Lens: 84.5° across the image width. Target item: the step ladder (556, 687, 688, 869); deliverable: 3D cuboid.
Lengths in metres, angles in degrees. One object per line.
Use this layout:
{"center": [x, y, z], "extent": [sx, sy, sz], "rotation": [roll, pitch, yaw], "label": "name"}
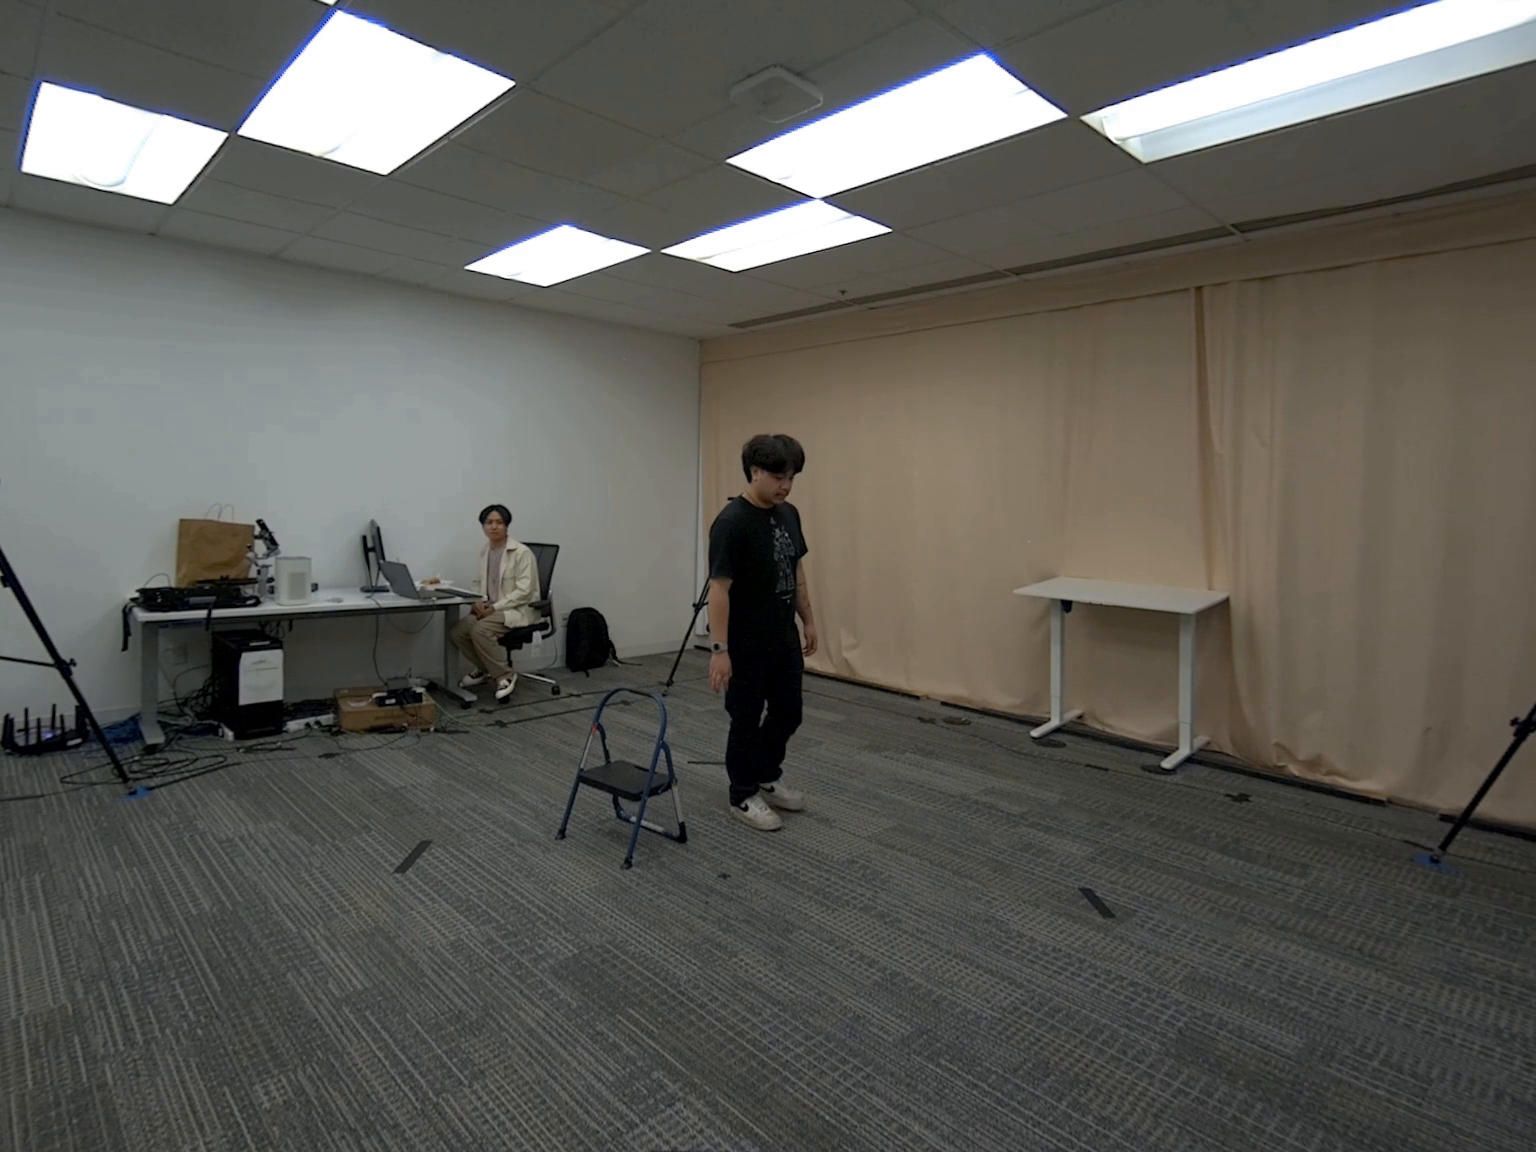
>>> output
{"center": [-0.590, 0.769, 3.388], "extent": [0.441, 0.604, 0.341], "rotation": [4, 5, 39], "label": "step ladder"}
